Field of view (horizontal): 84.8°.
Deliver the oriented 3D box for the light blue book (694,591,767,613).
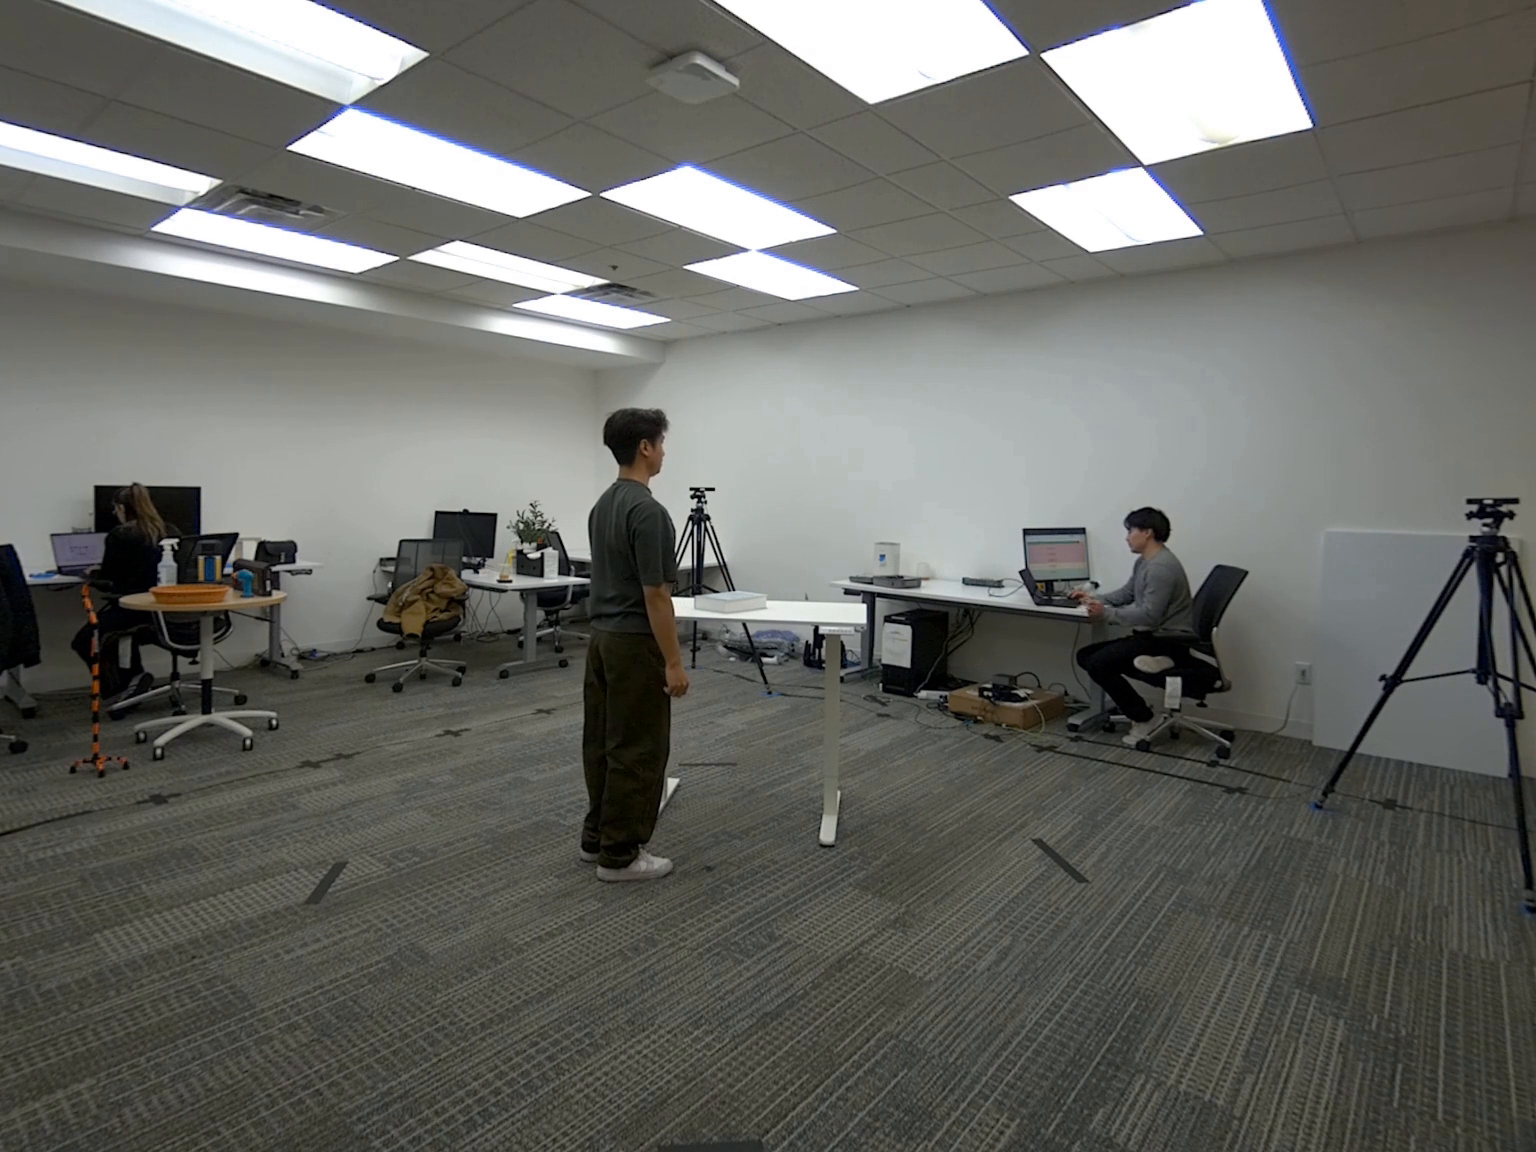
[{"bbox_3d":[-0.164,0.107,3.631,0.198,0.059,0.253,5,7,42],"label":"light blue book"}]
